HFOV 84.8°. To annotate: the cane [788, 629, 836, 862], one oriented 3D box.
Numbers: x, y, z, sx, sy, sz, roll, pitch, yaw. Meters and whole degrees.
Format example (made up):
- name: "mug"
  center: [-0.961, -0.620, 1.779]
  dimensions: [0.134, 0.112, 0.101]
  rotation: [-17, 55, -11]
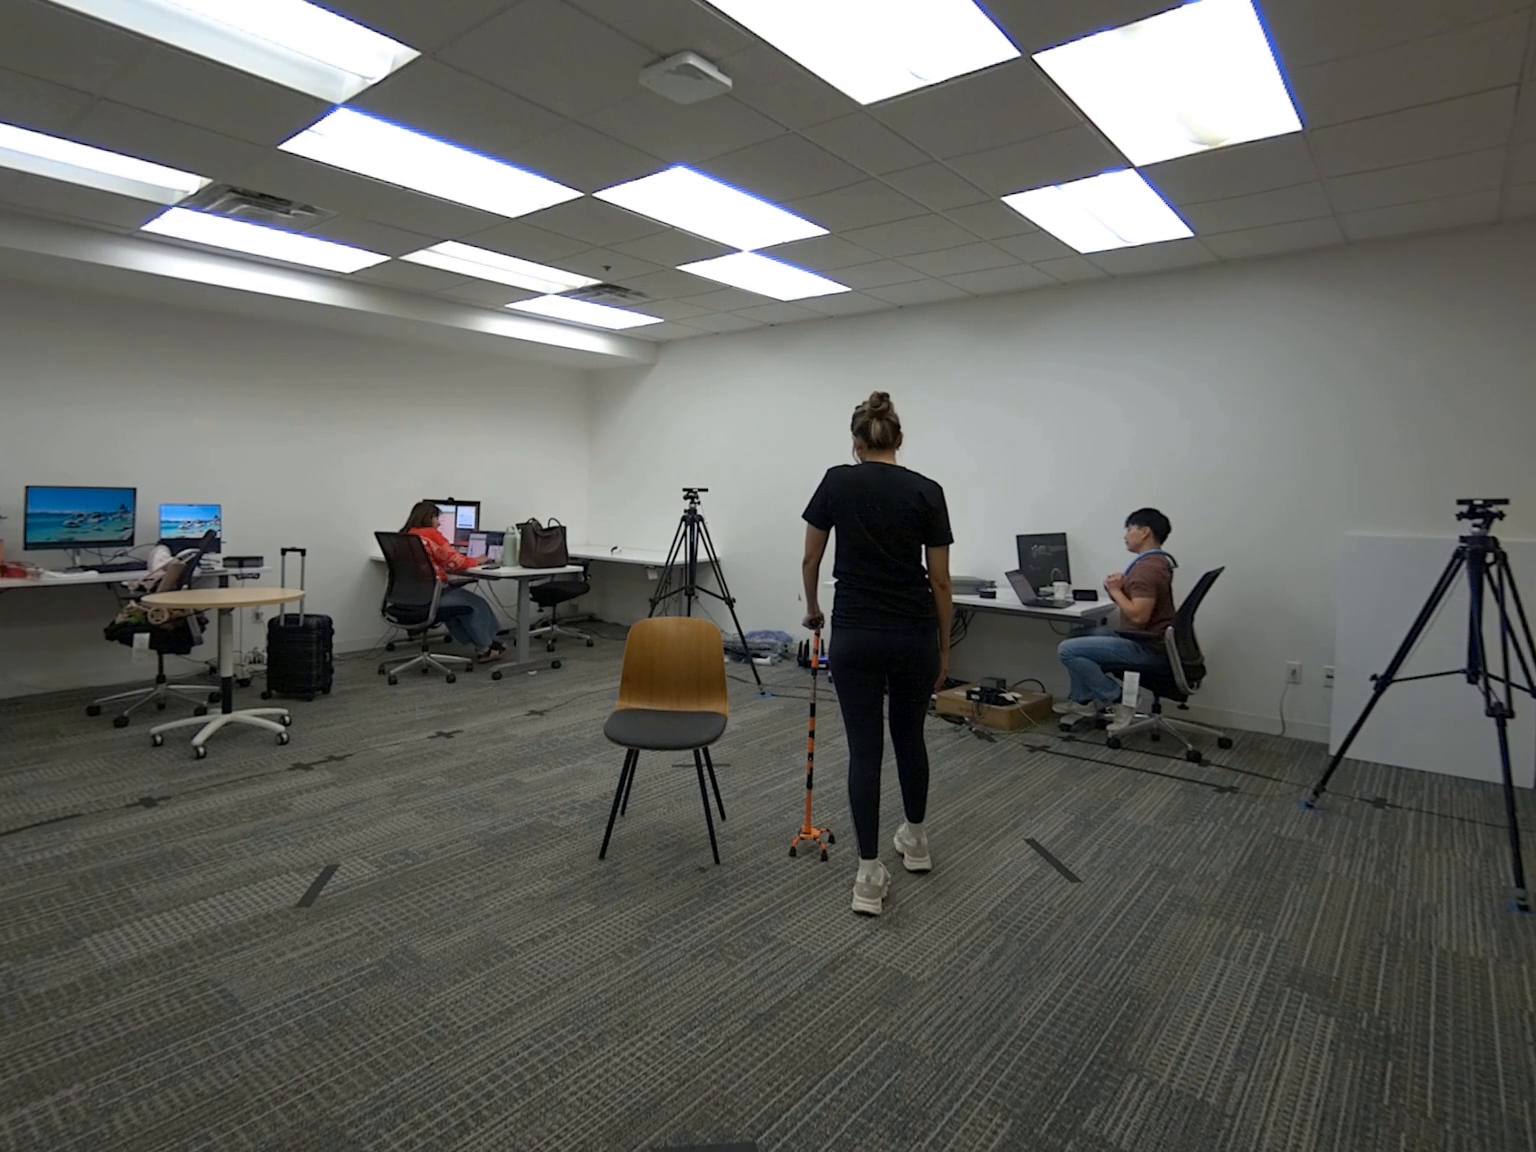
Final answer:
- name: "cane"
  center: [0.179, 0.605, 3.292]
  dimensions: [0.154, 0.906, 0.203]
  rotation: [3, 3, 14]
